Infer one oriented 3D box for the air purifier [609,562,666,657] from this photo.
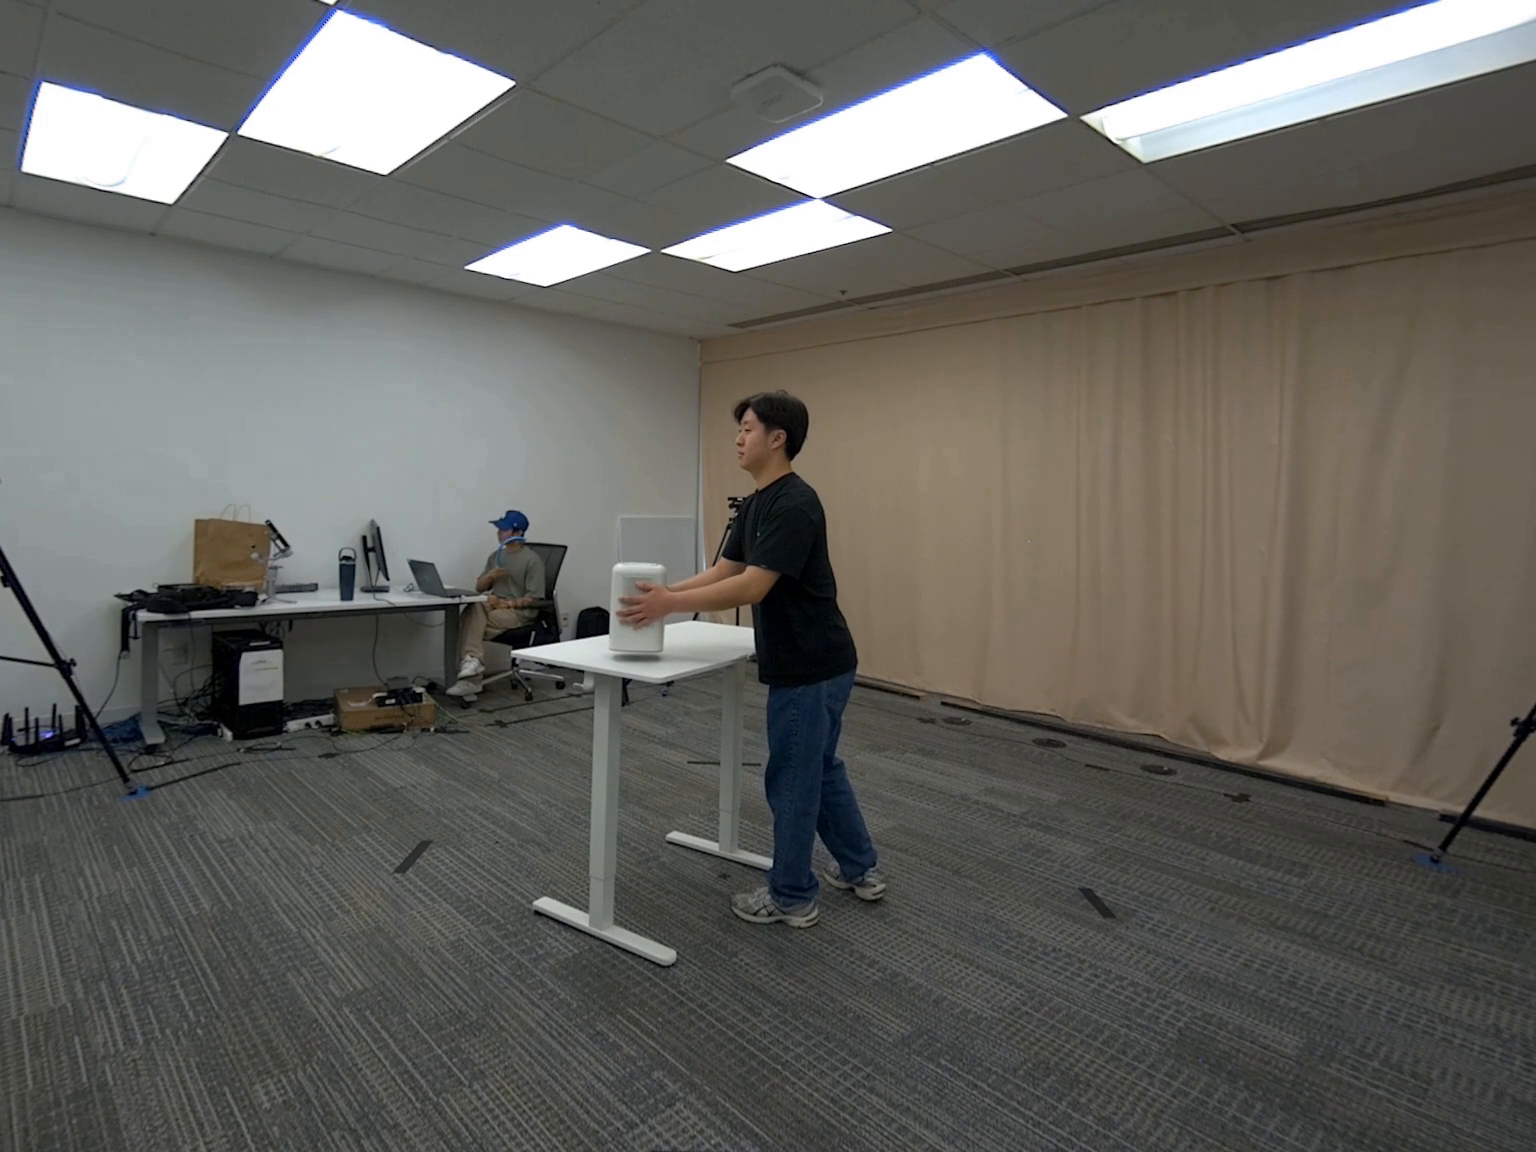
[{"bbox_3d":[-0.407,0.095,2.634,0.171,0.265,0.172,2,4,-7],"label":"air purifier"}]
